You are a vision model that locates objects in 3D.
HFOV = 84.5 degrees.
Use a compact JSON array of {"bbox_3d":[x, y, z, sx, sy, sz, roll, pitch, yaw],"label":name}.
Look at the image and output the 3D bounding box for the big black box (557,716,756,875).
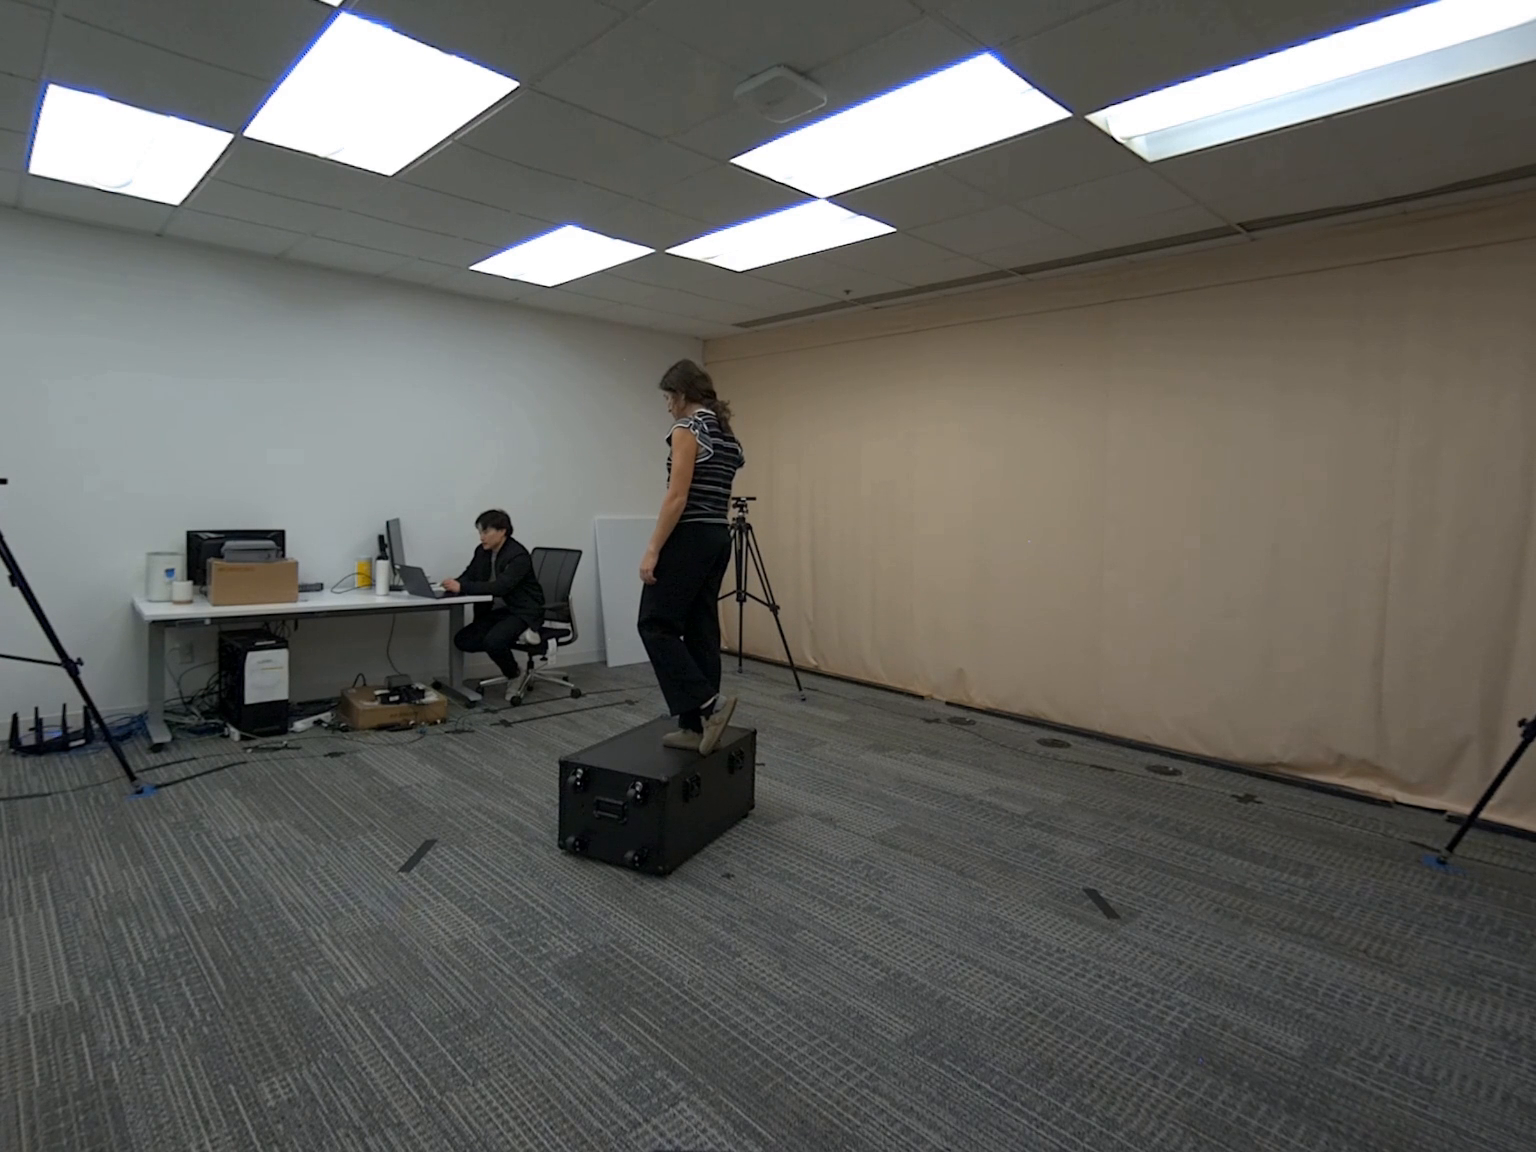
[{"bbox_3d":[-0.455,0.877,3.458,0.531,0.395,0.847,4,5,24],"label":"big black box"}]
